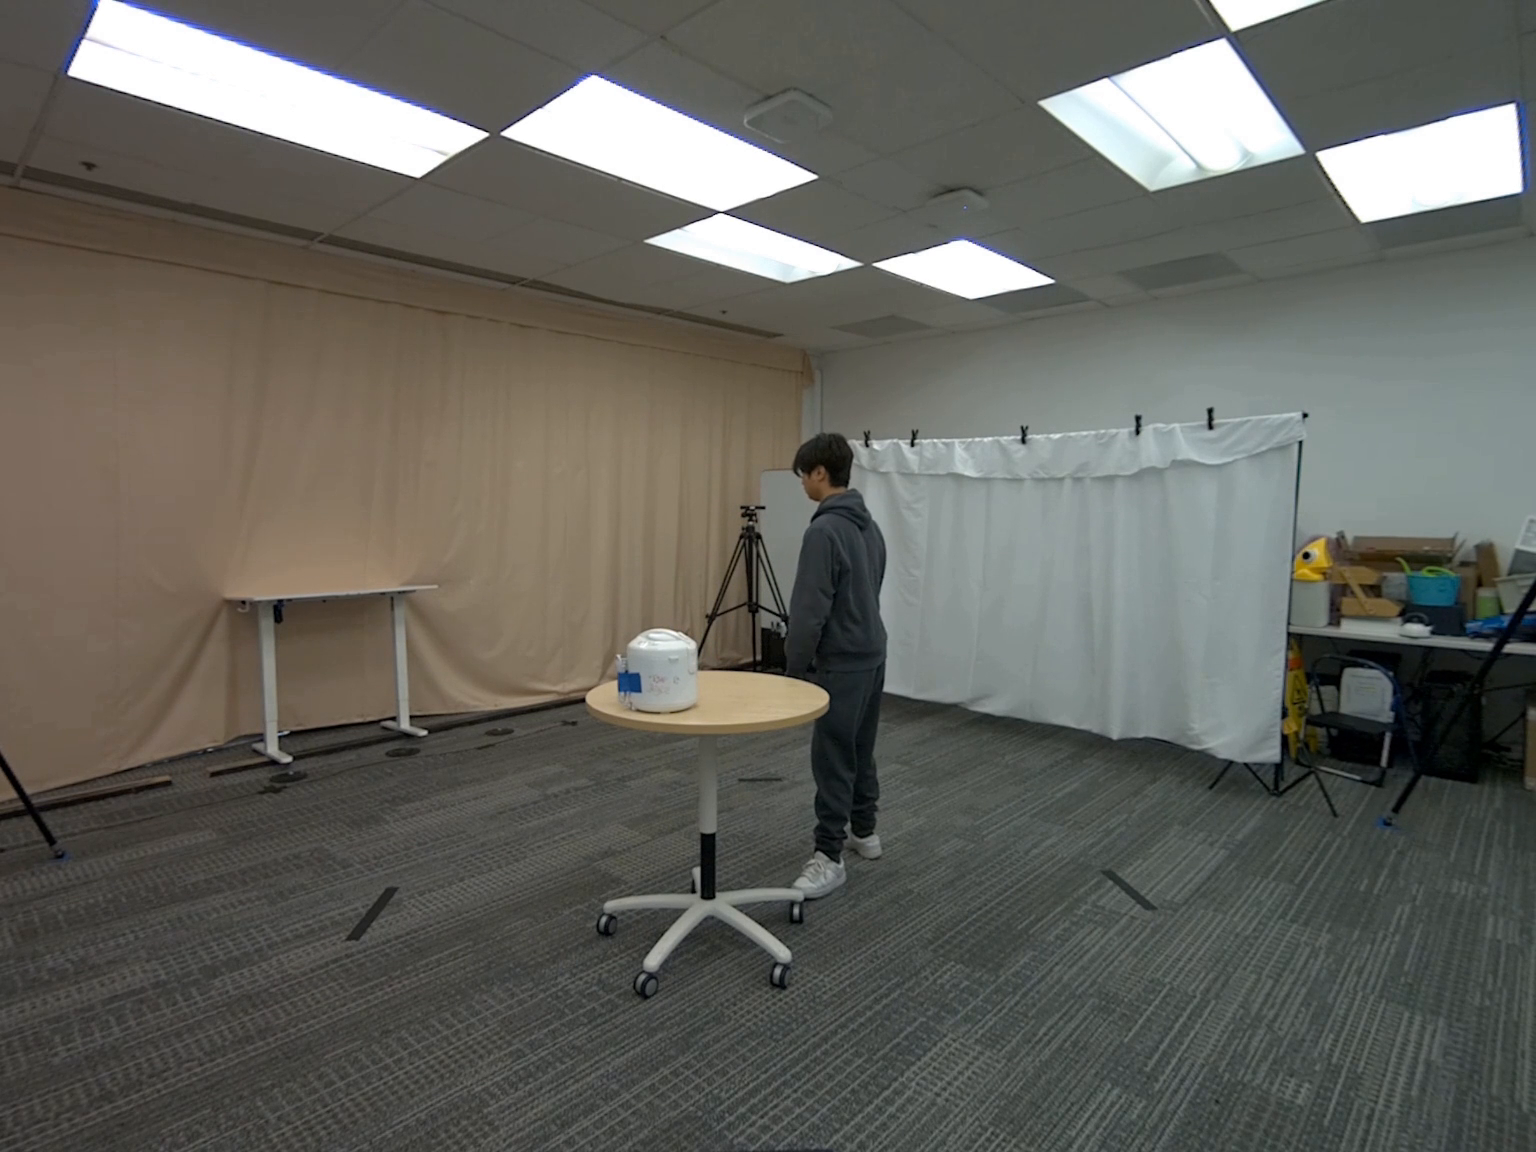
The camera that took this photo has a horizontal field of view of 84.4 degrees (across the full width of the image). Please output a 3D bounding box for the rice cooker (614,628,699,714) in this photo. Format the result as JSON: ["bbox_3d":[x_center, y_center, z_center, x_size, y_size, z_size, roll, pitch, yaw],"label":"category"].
[{"bbox_3d":[-0.311,0.272,2.486,0.227,0.232,0.212,2,4,28],"label":"rice cooker"}]
